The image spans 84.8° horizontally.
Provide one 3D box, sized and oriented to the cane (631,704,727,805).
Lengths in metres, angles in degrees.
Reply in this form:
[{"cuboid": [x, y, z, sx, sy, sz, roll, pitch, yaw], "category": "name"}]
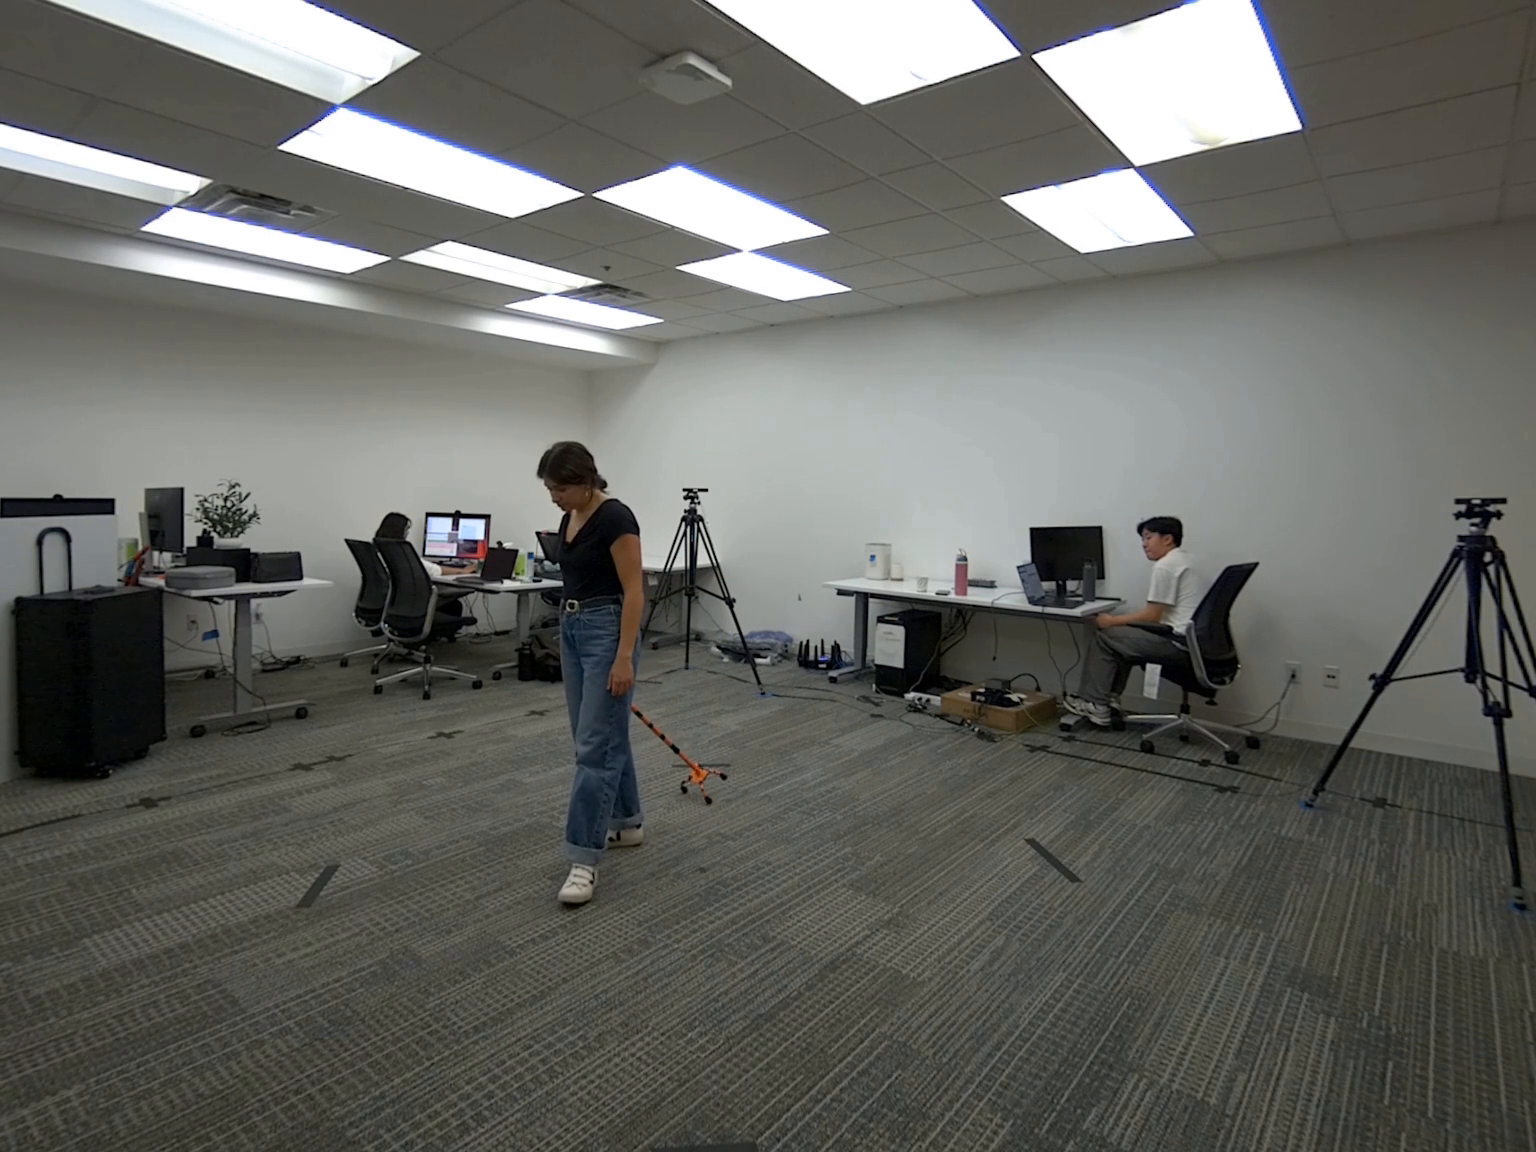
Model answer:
[{"cuboid": [-0.523, 0.638, 3.637, 0.213, 0.152, 0.876, 2, -42, 48], "category": "cane"}]
